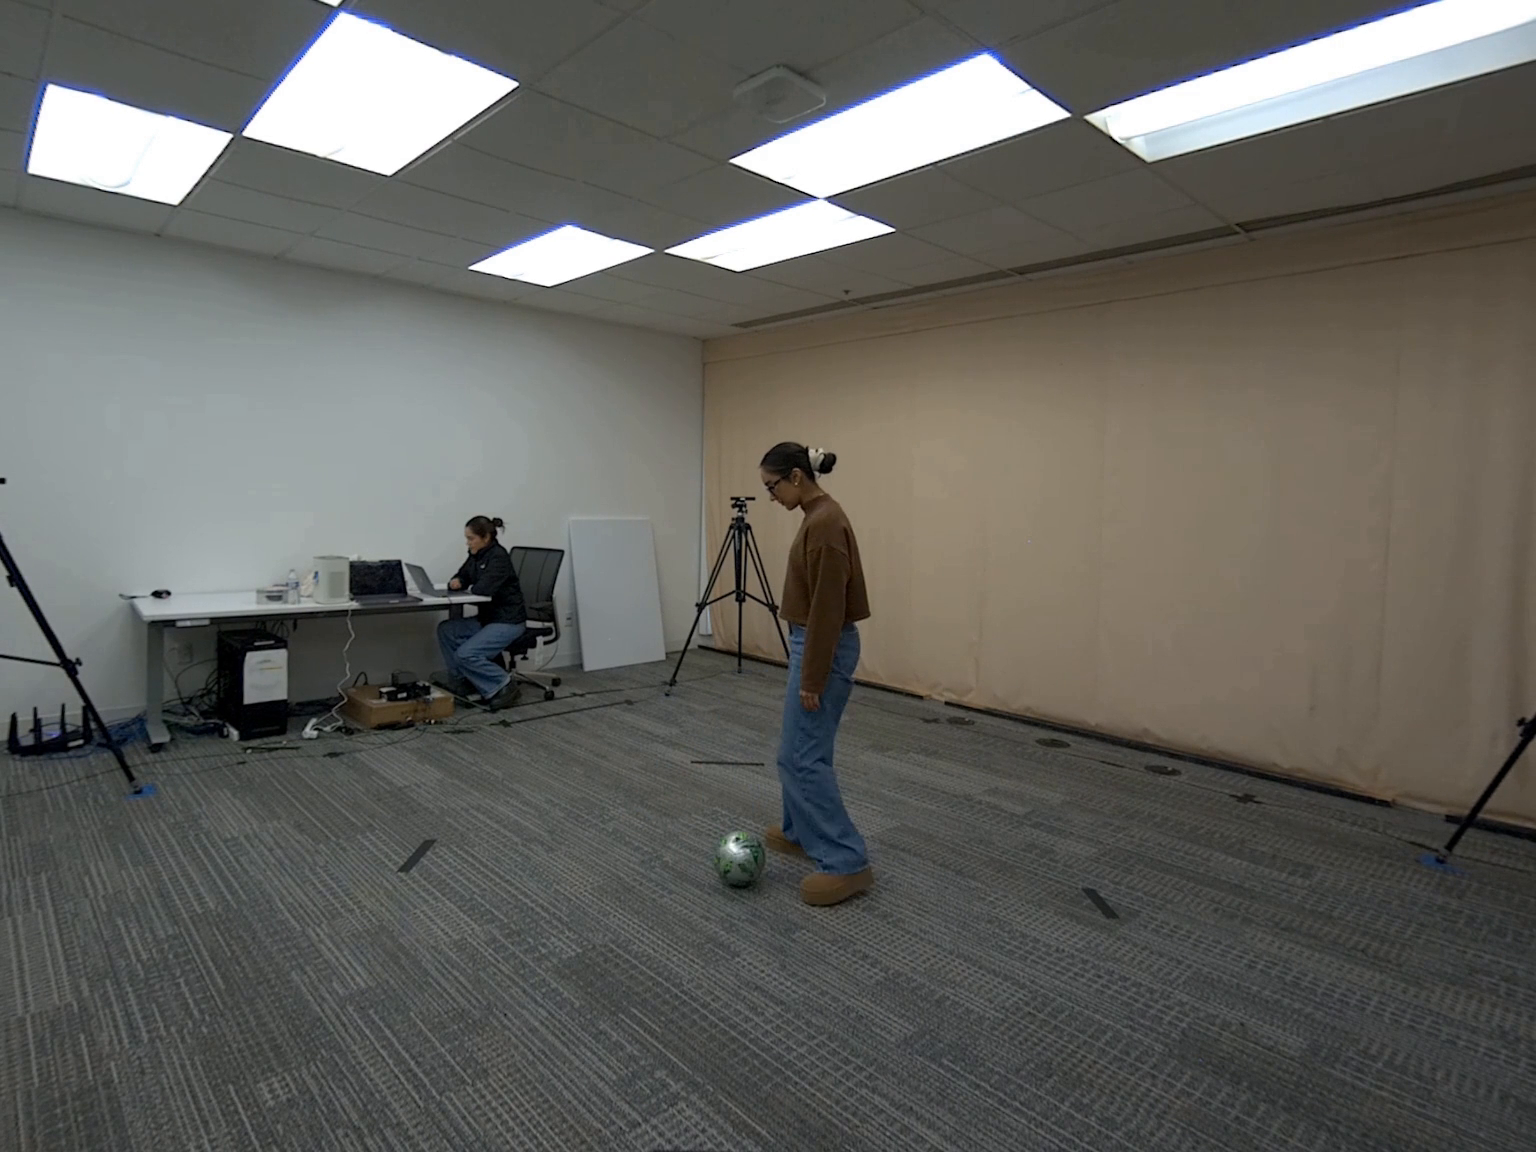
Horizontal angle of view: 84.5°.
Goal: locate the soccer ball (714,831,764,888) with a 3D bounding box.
[{"bbox_3d":[-0.109,1.015,3.042,0.187,0.187,0.188,1,4,-1],"label":"soccer ball"}]
